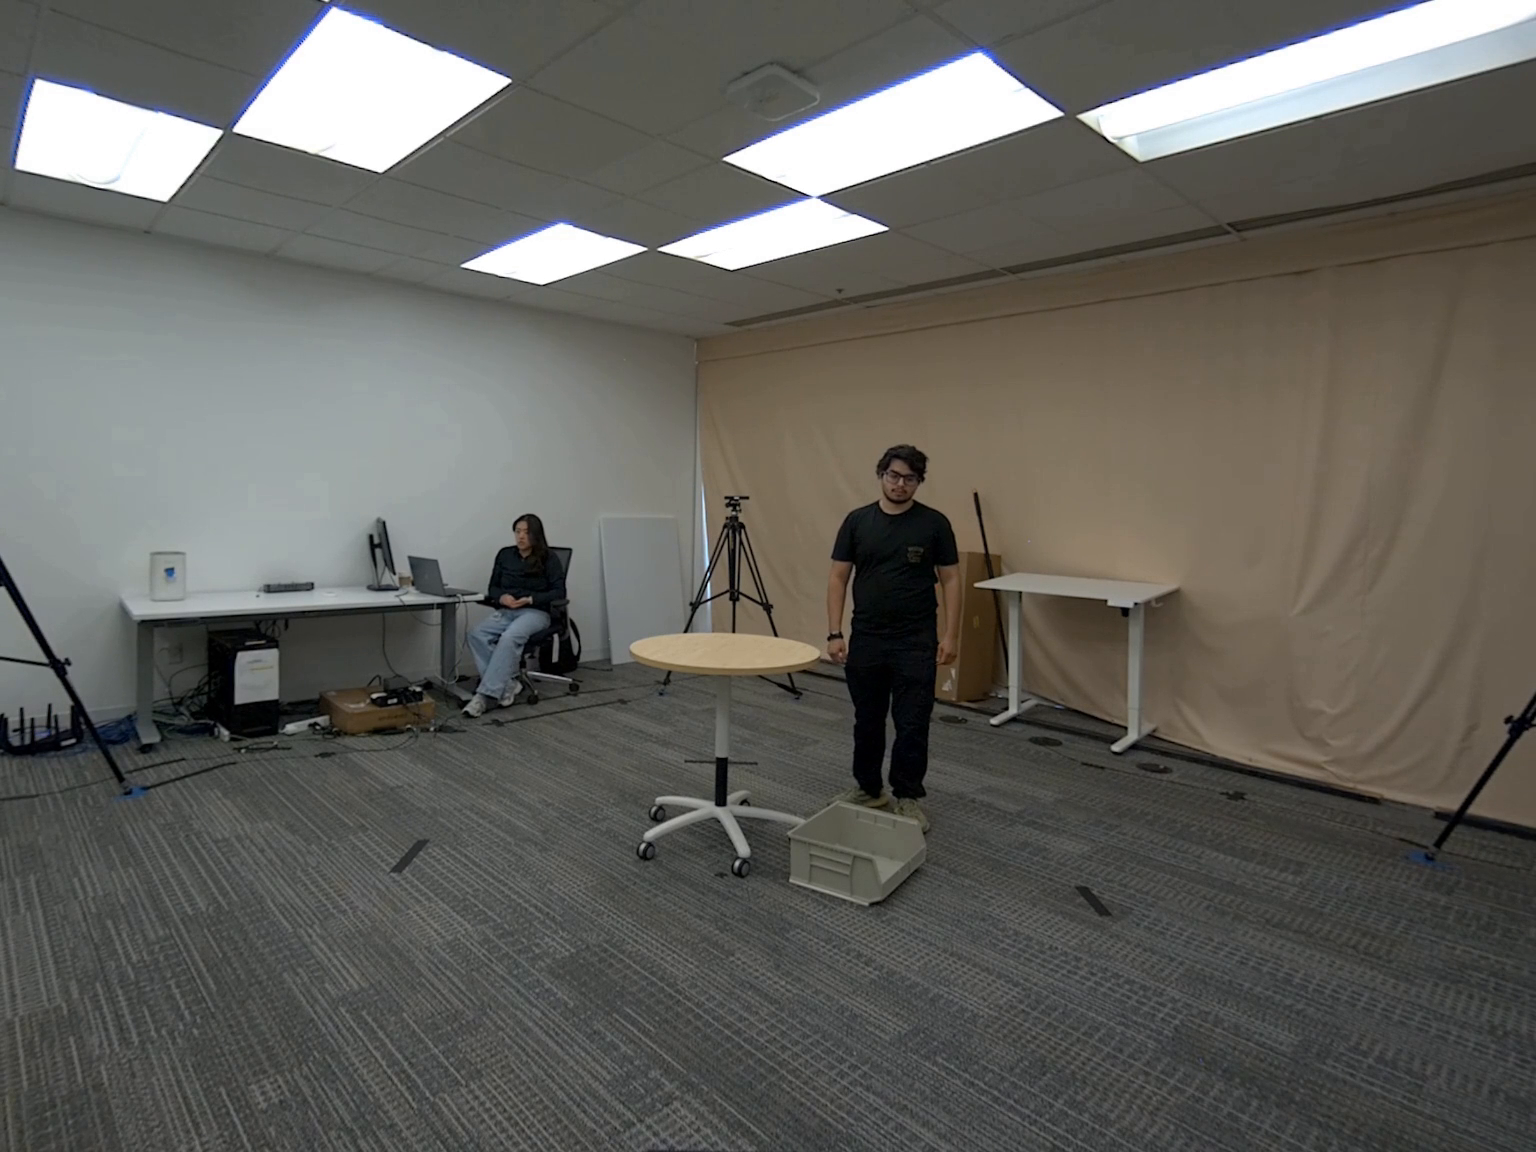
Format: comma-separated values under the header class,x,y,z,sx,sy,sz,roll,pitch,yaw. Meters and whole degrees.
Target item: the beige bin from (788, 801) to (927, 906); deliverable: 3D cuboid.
class,x,y,z,sx,sy,sz,roll,pitch,yaw
beige bin,0.327,1.026,3.128,0.386,0.188,0.414,4,5,32
